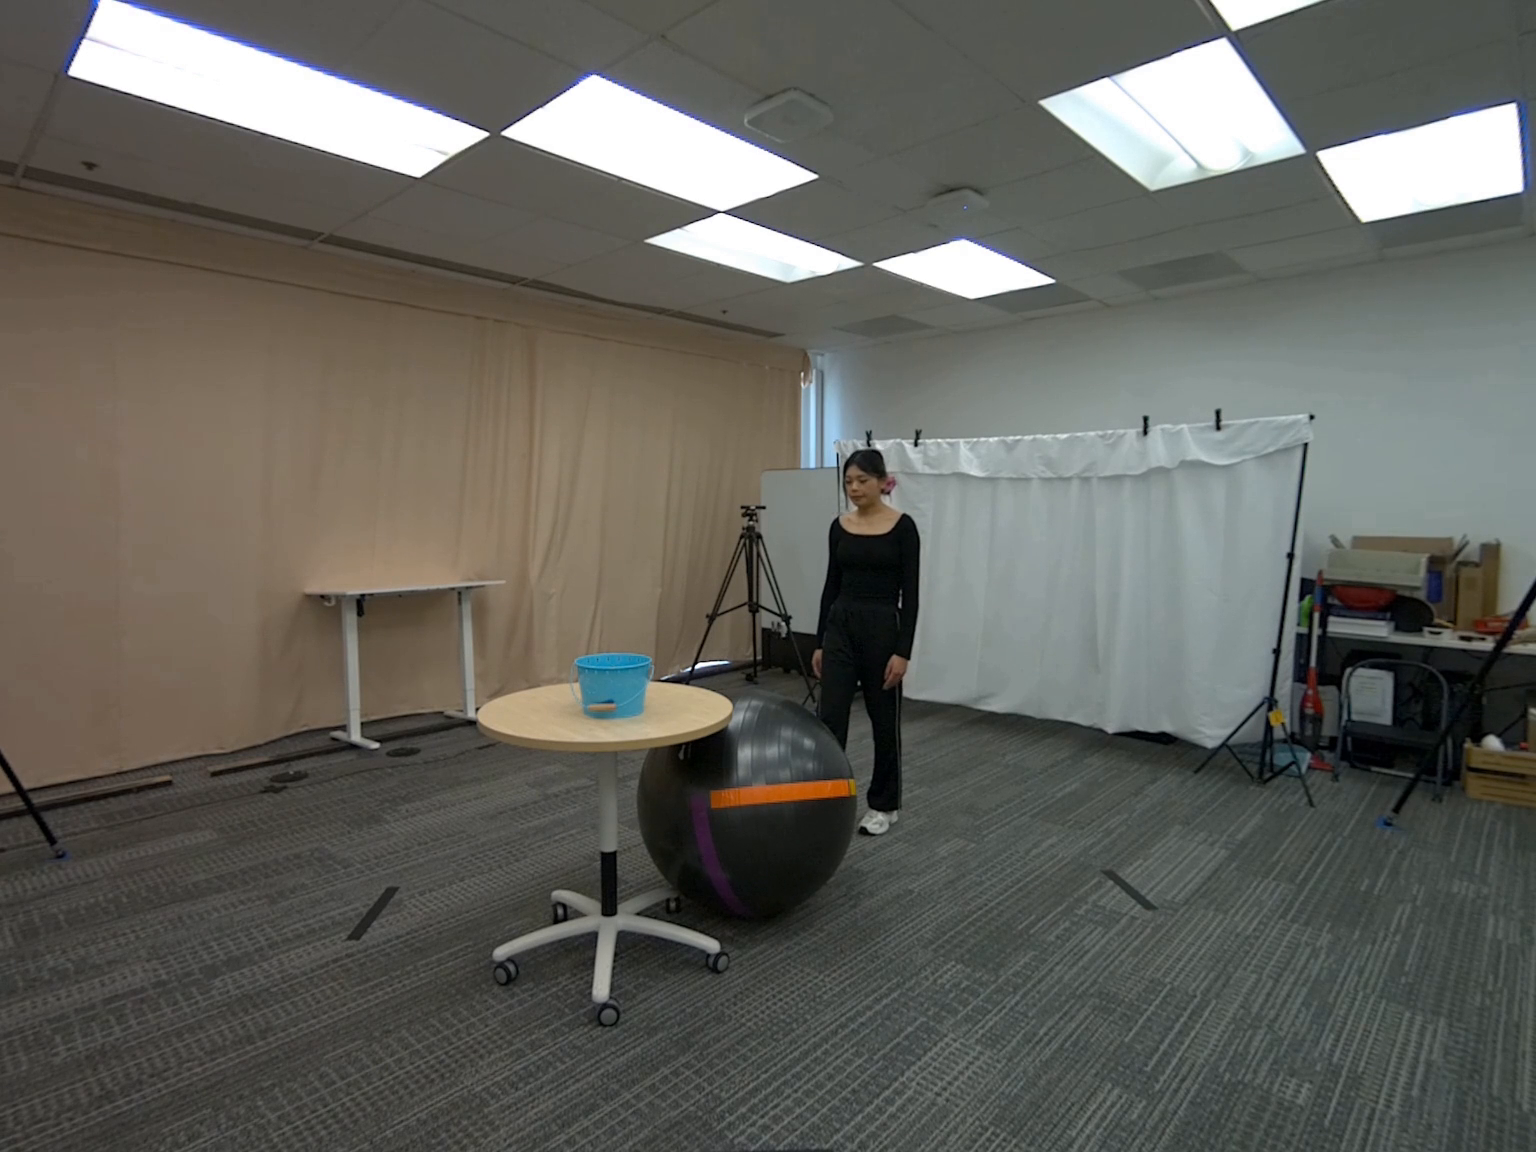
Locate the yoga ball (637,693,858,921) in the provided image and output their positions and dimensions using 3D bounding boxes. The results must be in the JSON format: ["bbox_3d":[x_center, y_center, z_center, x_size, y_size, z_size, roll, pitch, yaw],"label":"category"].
[{"bbox_3d":[-0.078,0.783,2.931,0.757,0.756,0.760,0,4,-2],"label":"yoga ball"}]
